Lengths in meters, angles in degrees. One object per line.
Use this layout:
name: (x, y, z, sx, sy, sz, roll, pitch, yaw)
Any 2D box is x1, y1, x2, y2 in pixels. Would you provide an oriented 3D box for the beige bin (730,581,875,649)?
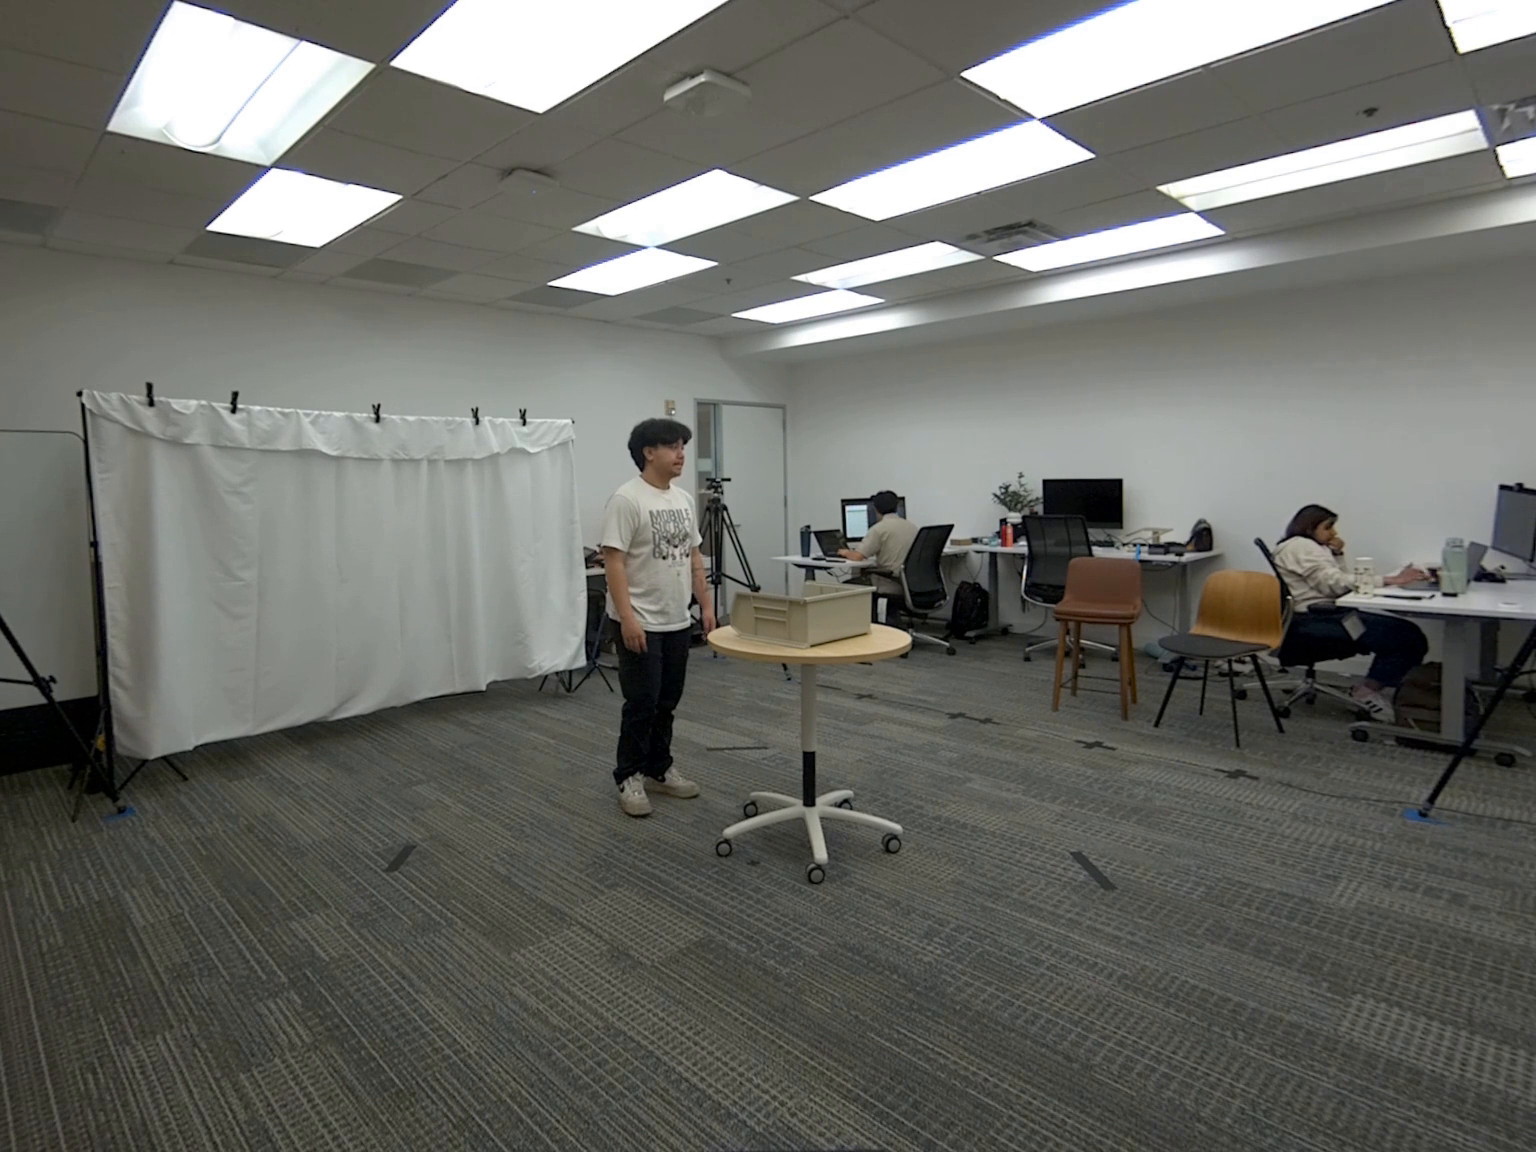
beige bin: (0.127, 0.140, 3.241, 0.389, 0.188, 0.411, 6, 8, 42)
